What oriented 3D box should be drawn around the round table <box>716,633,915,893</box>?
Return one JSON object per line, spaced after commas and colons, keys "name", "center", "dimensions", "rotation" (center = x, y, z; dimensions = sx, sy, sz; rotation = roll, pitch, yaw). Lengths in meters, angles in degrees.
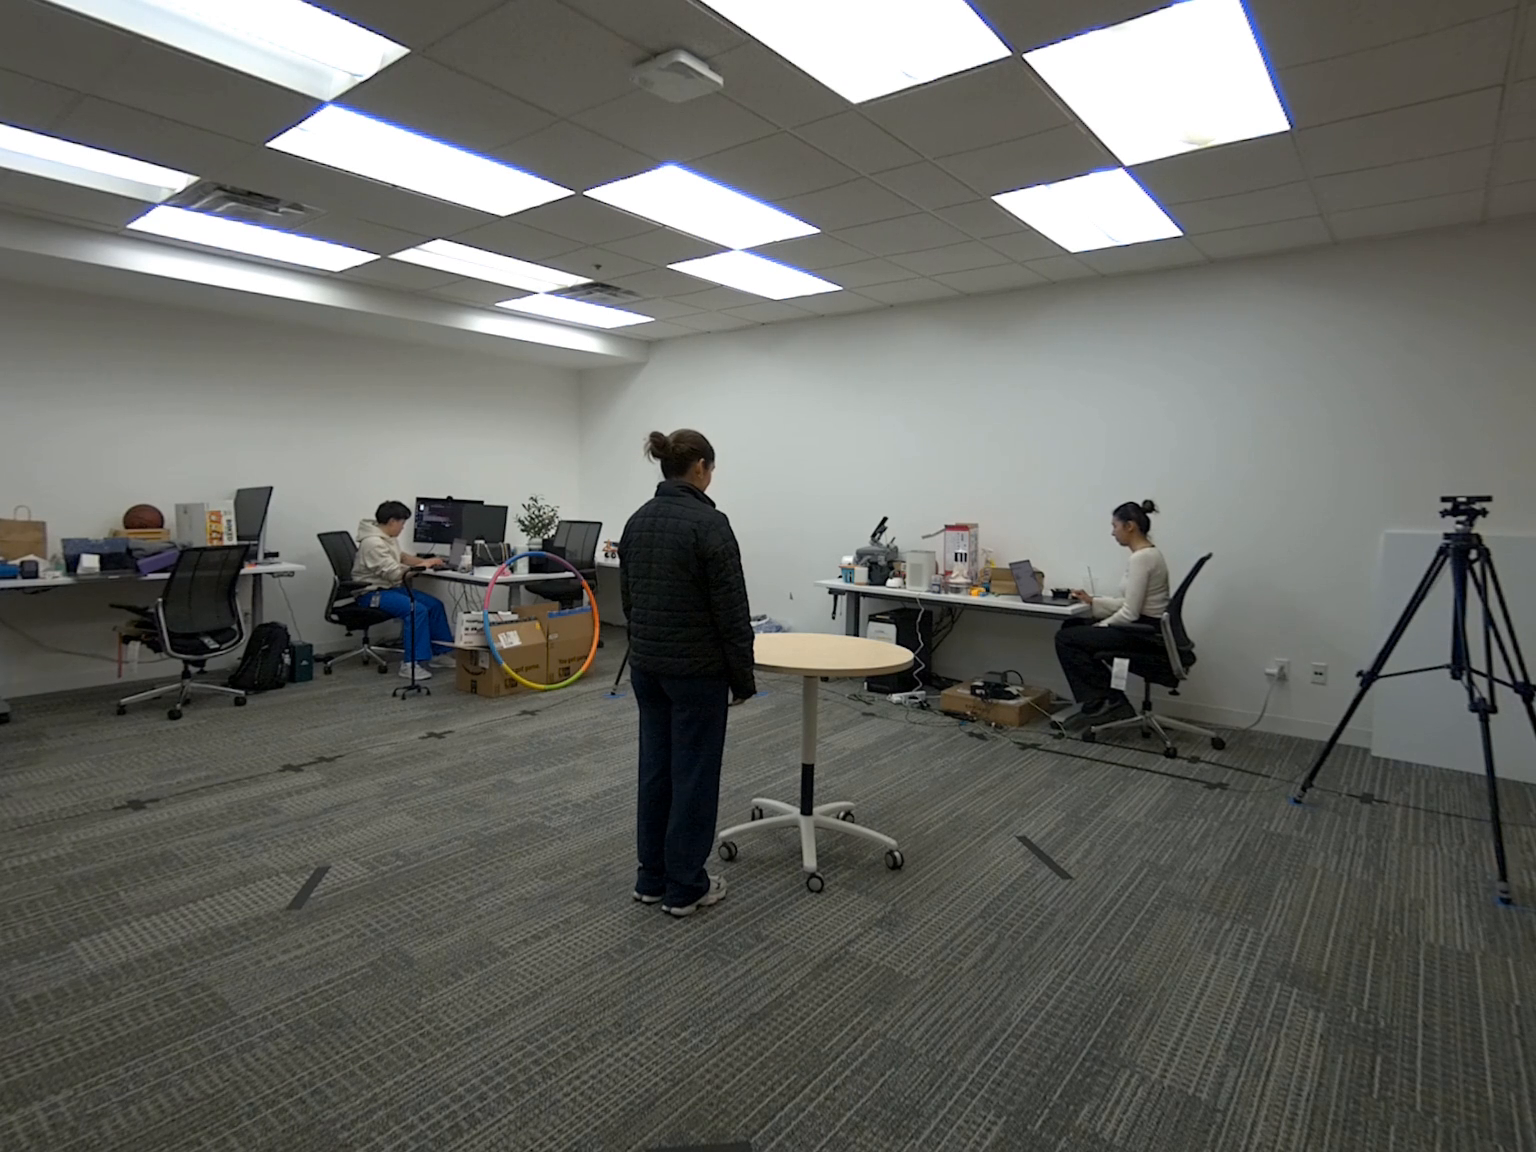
{"name": "round table", "center": [0.164, 0.663, 3.284], "dimensions": [0.784, 0.784, 0.788], "rotation": [2, 4, -2]}
